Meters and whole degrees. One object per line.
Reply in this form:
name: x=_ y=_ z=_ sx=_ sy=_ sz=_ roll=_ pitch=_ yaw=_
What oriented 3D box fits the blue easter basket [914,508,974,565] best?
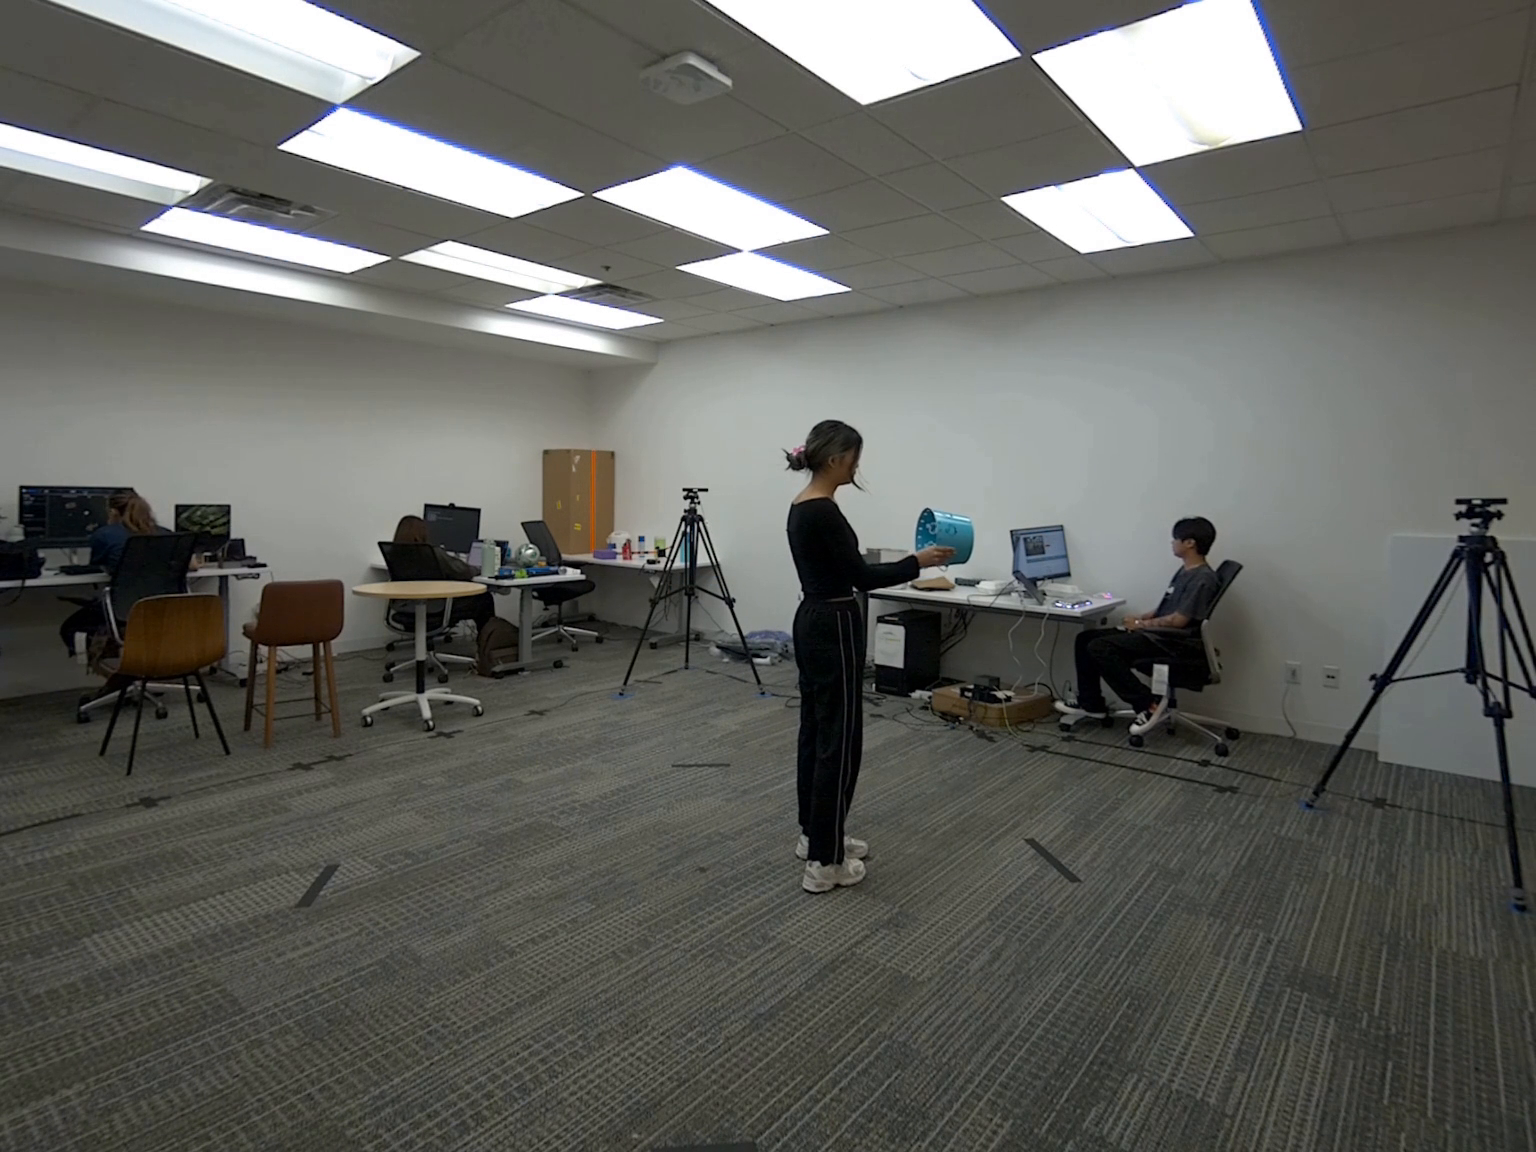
blue easter basket: x=0.659 y=-0.137 z=3.209 sx=0.154 sy=0.243 sz=0.246 roll=3 pitch=4 yaw=-8
